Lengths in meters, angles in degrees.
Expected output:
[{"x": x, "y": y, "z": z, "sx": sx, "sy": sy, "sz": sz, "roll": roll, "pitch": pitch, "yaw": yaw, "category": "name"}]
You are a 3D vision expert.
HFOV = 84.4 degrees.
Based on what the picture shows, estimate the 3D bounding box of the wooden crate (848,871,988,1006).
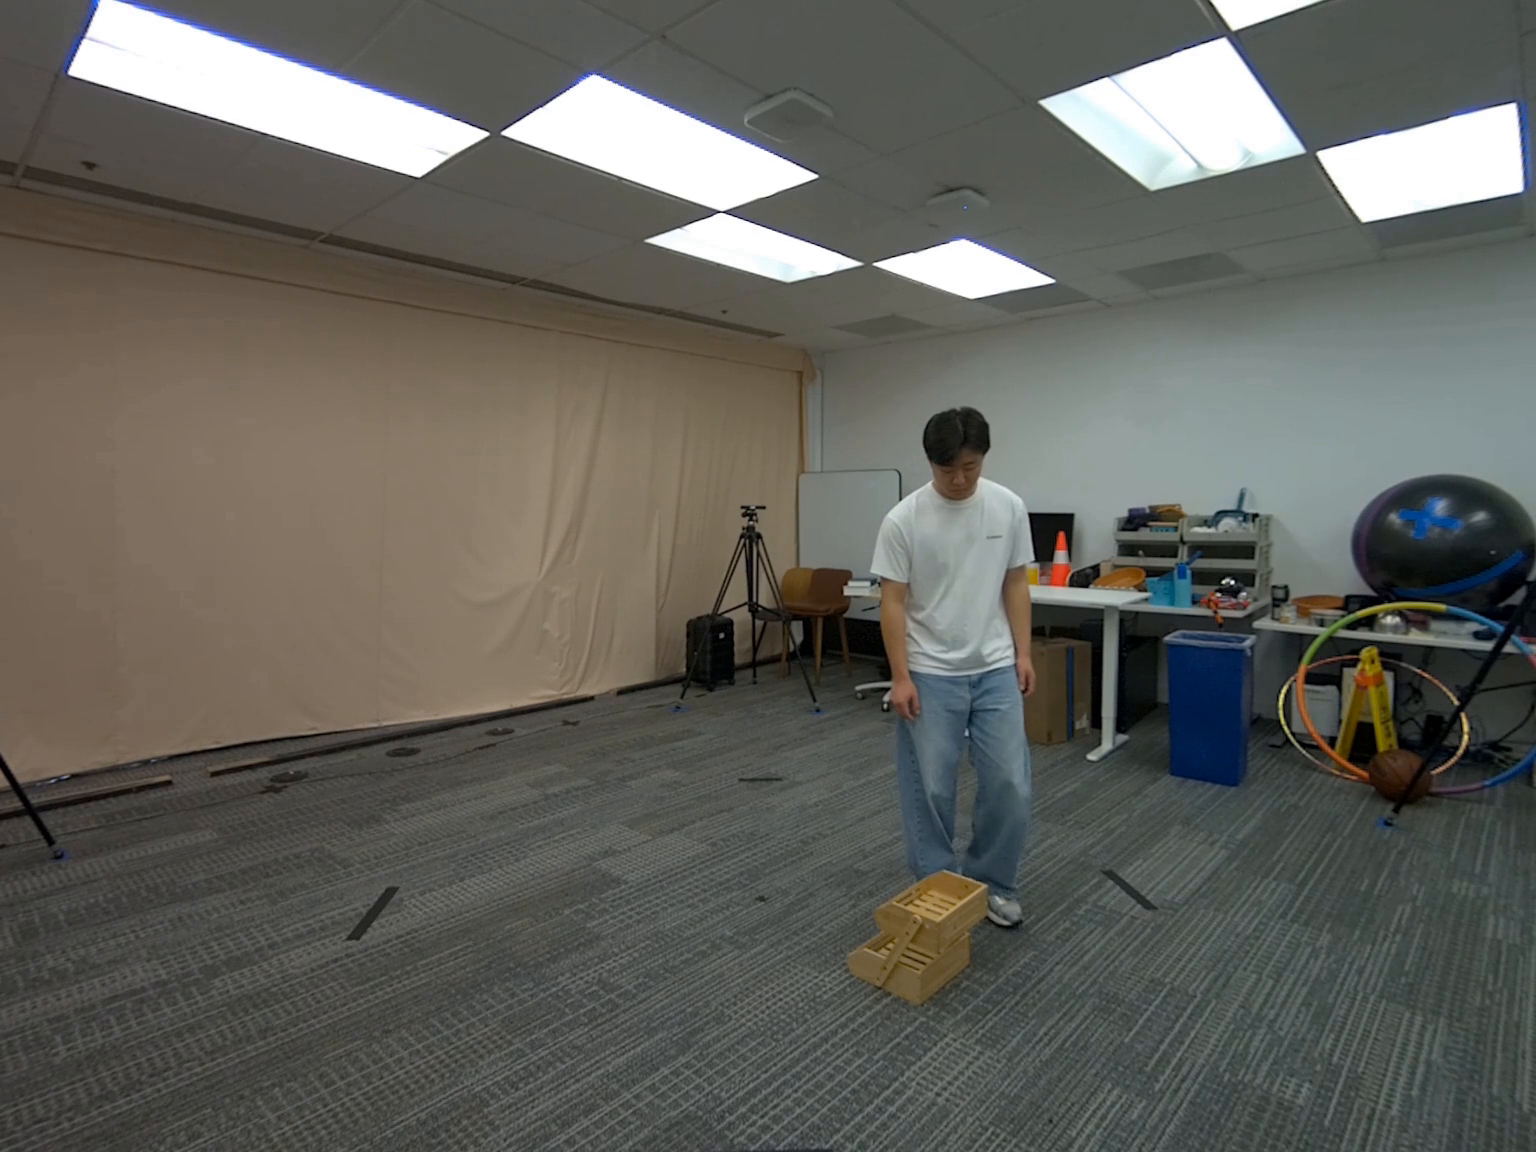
[{"x": 0.449, "y": 1.049, "z": 2.508, "sx": 0.312, "sy": 0.272, "sz": 0.314, "roll": 5, "pitch": 6, "yaw": 41, "category": "wooden crate"}]
